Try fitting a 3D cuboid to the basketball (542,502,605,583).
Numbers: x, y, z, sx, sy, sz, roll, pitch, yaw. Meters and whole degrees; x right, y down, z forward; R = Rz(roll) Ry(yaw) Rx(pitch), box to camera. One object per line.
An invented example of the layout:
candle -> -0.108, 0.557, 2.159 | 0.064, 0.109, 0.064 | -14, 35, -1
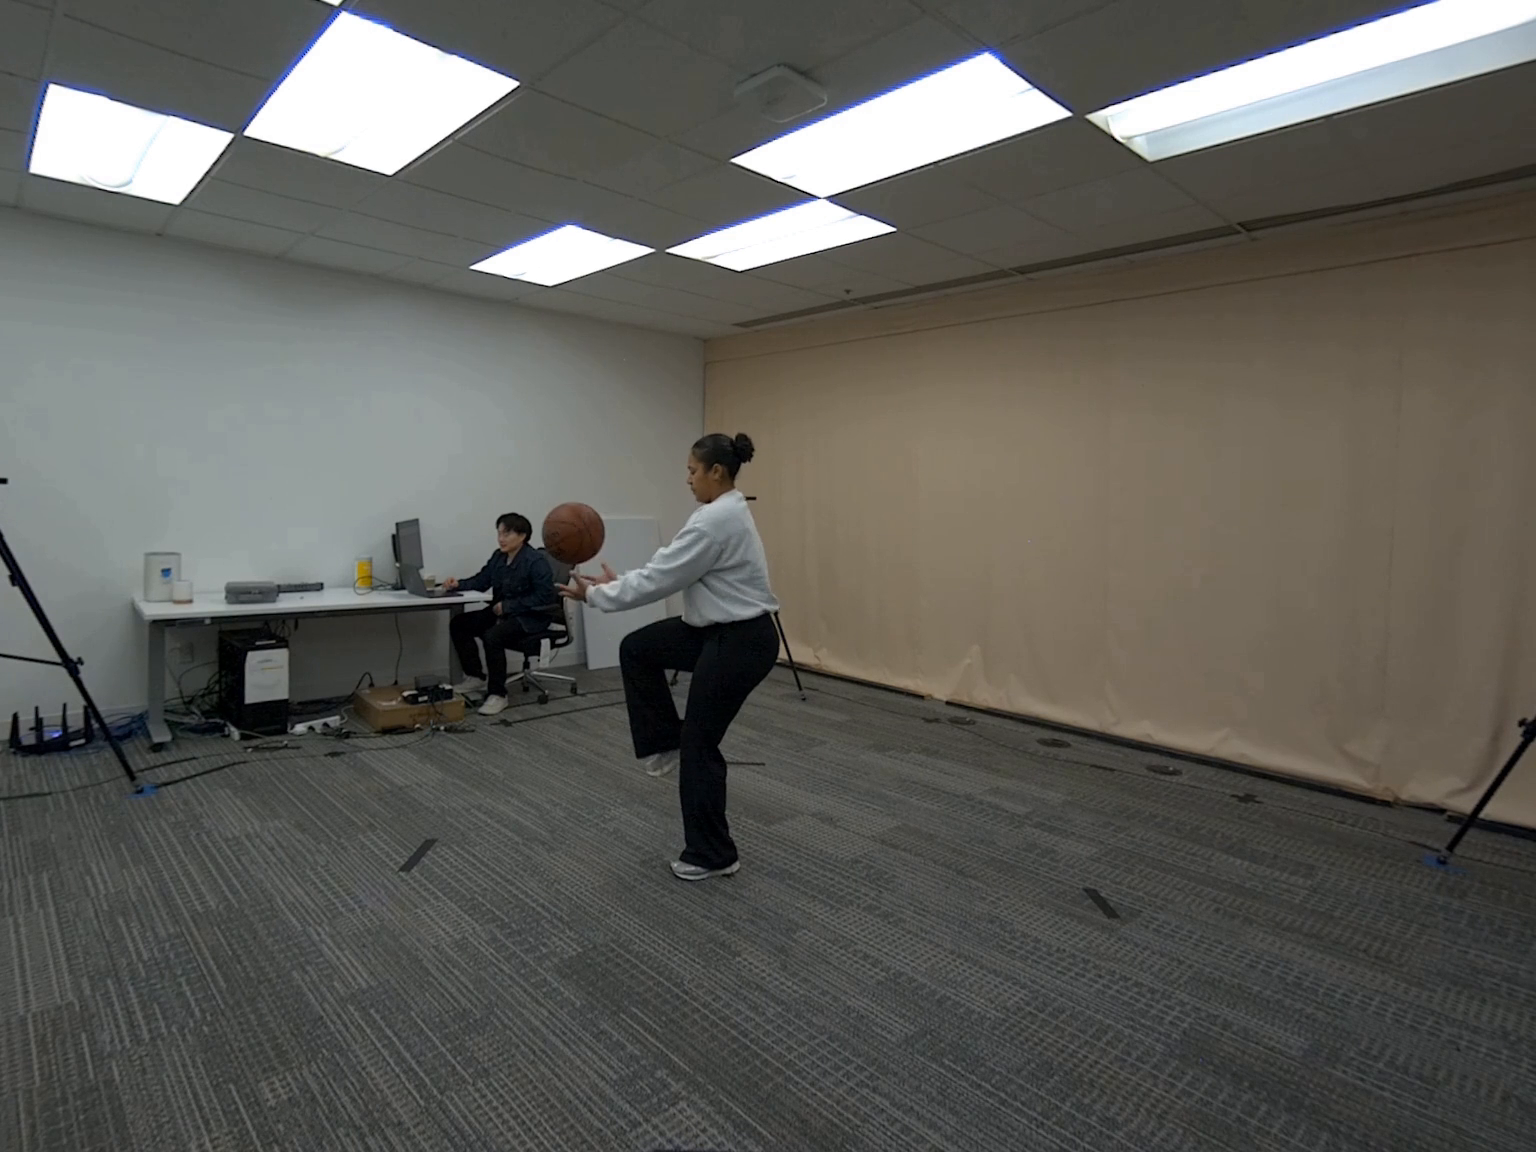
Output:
basketball -> -0.747, -0.127, 3.220 | 0.236, 0.235, 0.237 | 1, 4, -1
